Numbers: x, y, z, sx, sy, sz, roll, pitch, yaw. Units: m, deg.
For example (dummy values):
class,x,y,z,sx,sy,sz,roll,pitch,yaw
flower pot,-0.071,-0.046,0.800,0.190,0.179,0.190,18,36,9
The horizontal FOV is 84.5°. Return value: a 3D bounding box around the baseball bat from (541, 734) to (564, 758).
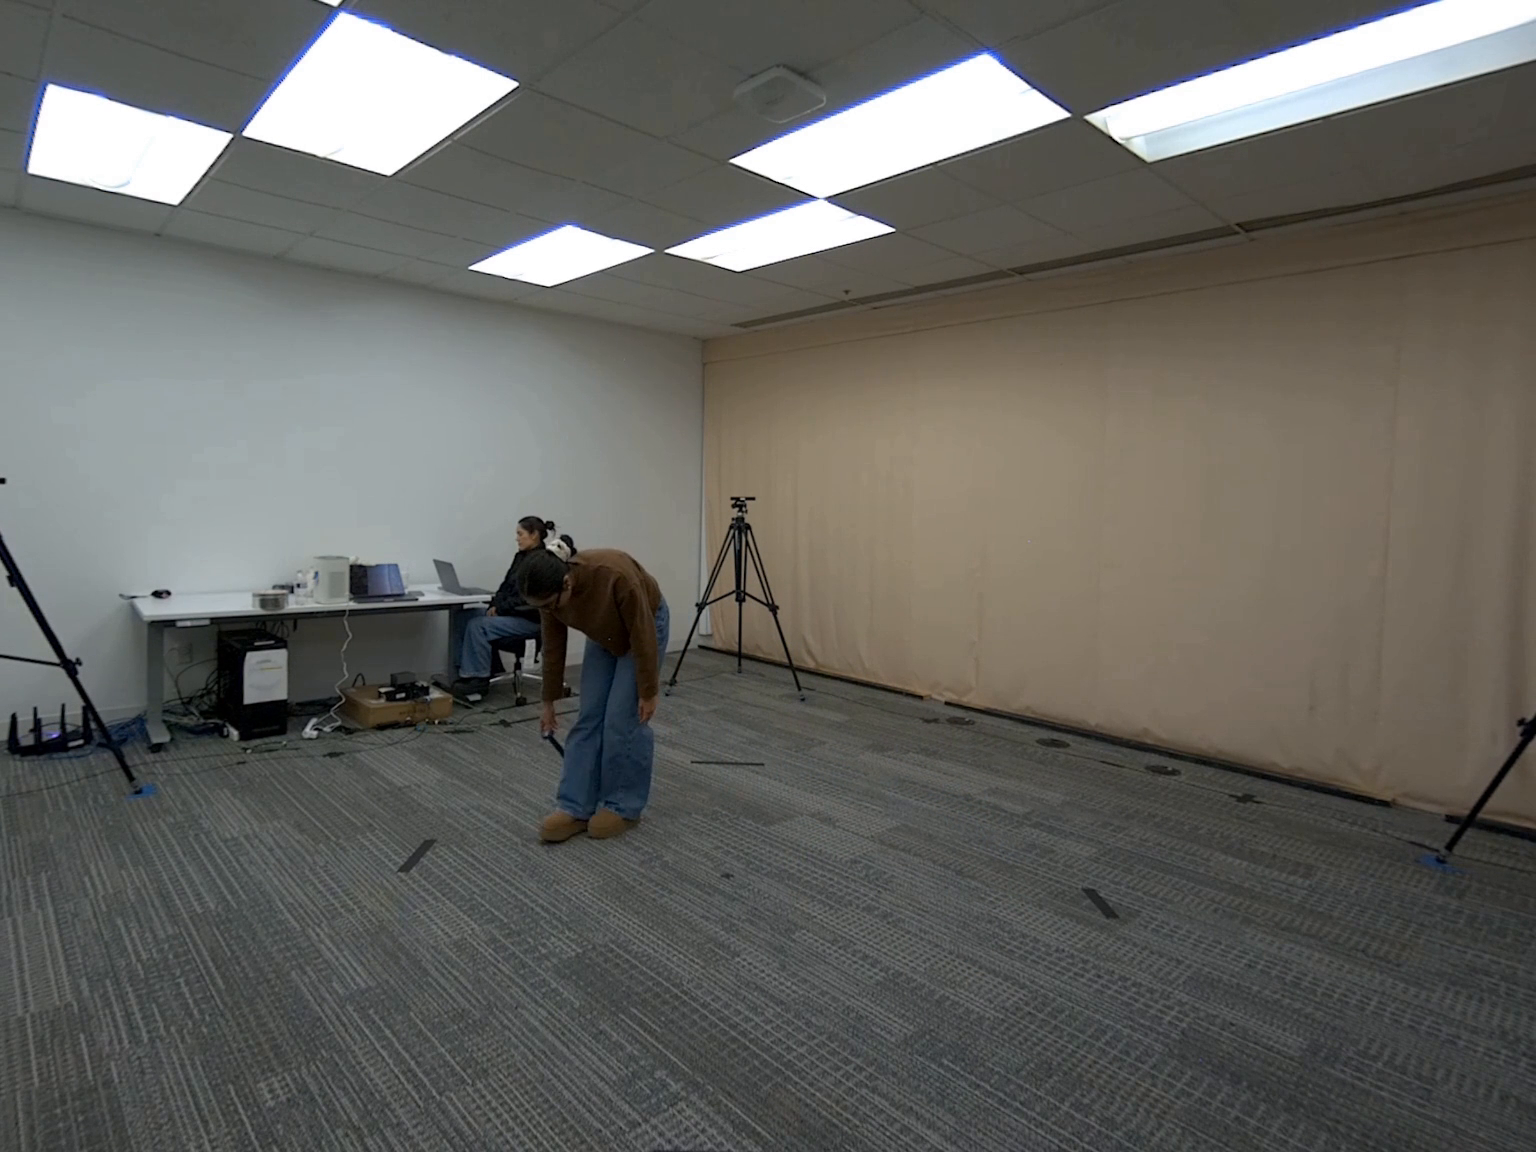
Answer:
class,x,y,z,sx,sy,sz,roll,pitch,yaw
baseball bat,-0.862,0.836,3.701,0.091,0.090,0.527,4,-38,26
